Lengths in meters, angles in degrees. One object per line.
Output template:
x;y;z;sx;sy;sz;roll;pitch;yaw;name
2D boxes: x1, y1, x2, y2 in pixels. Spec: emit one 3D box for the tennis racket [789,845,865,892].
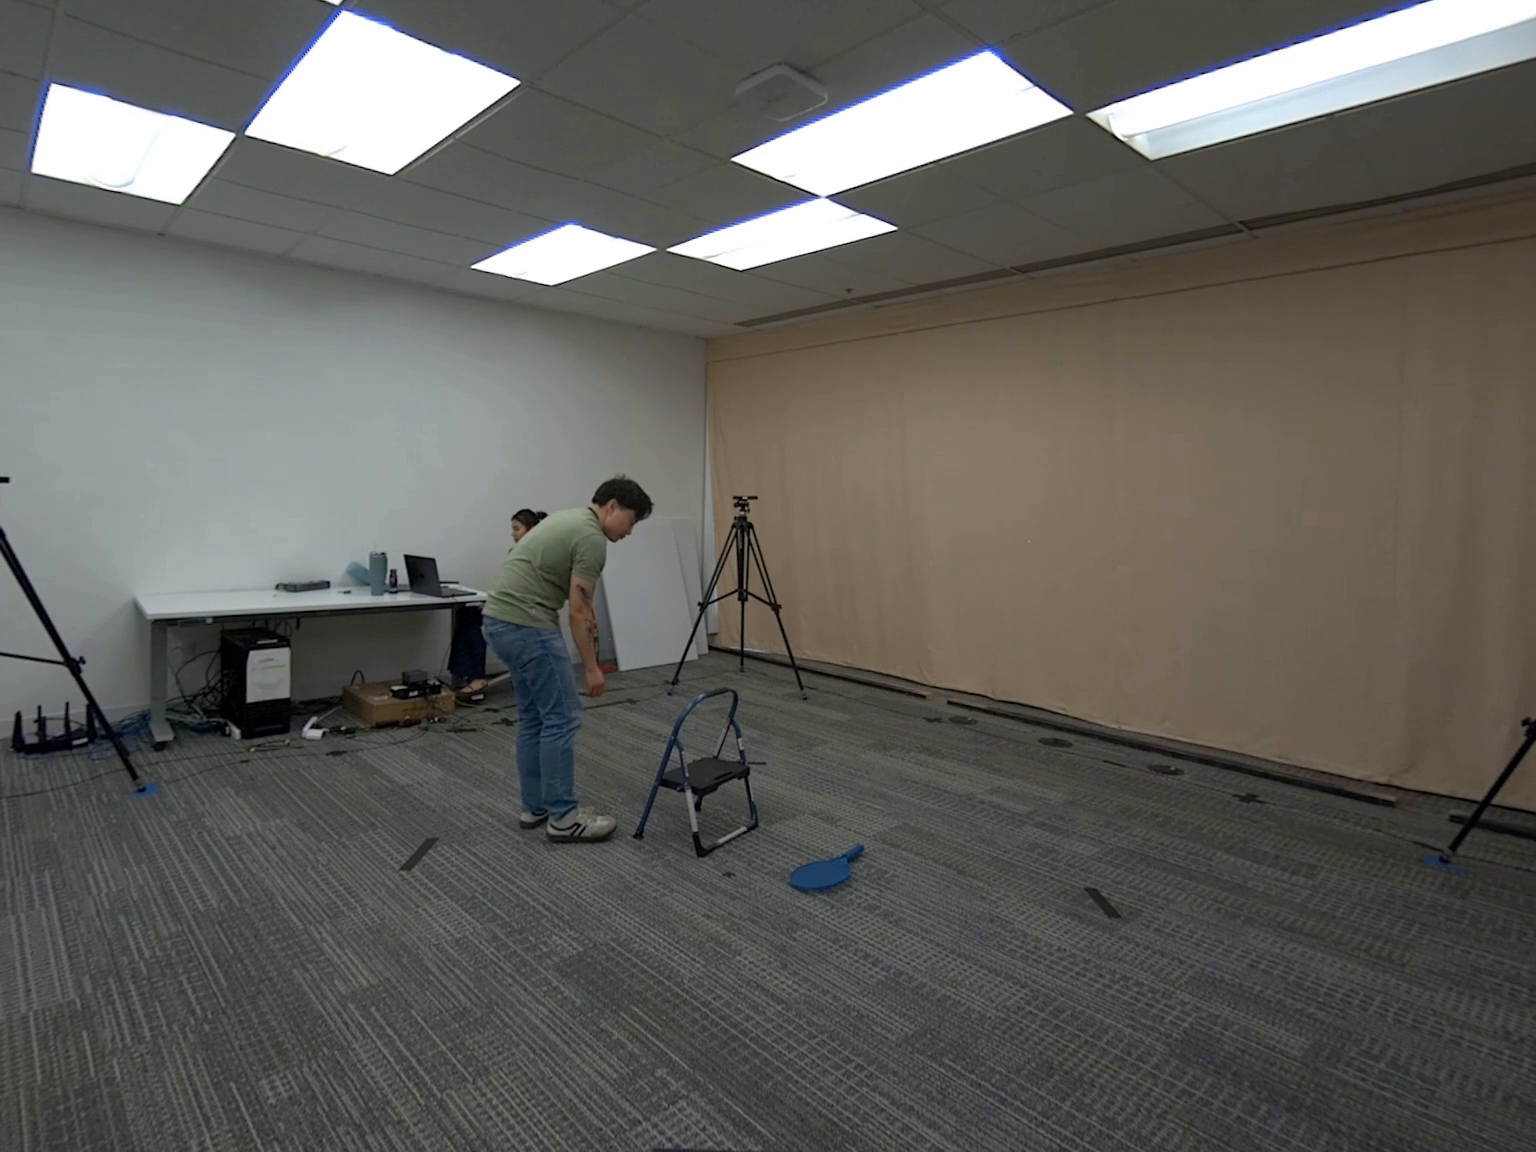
0.229;1.083;3.139;0.218;0.032;0.424;-1;4;37;tennis racket
